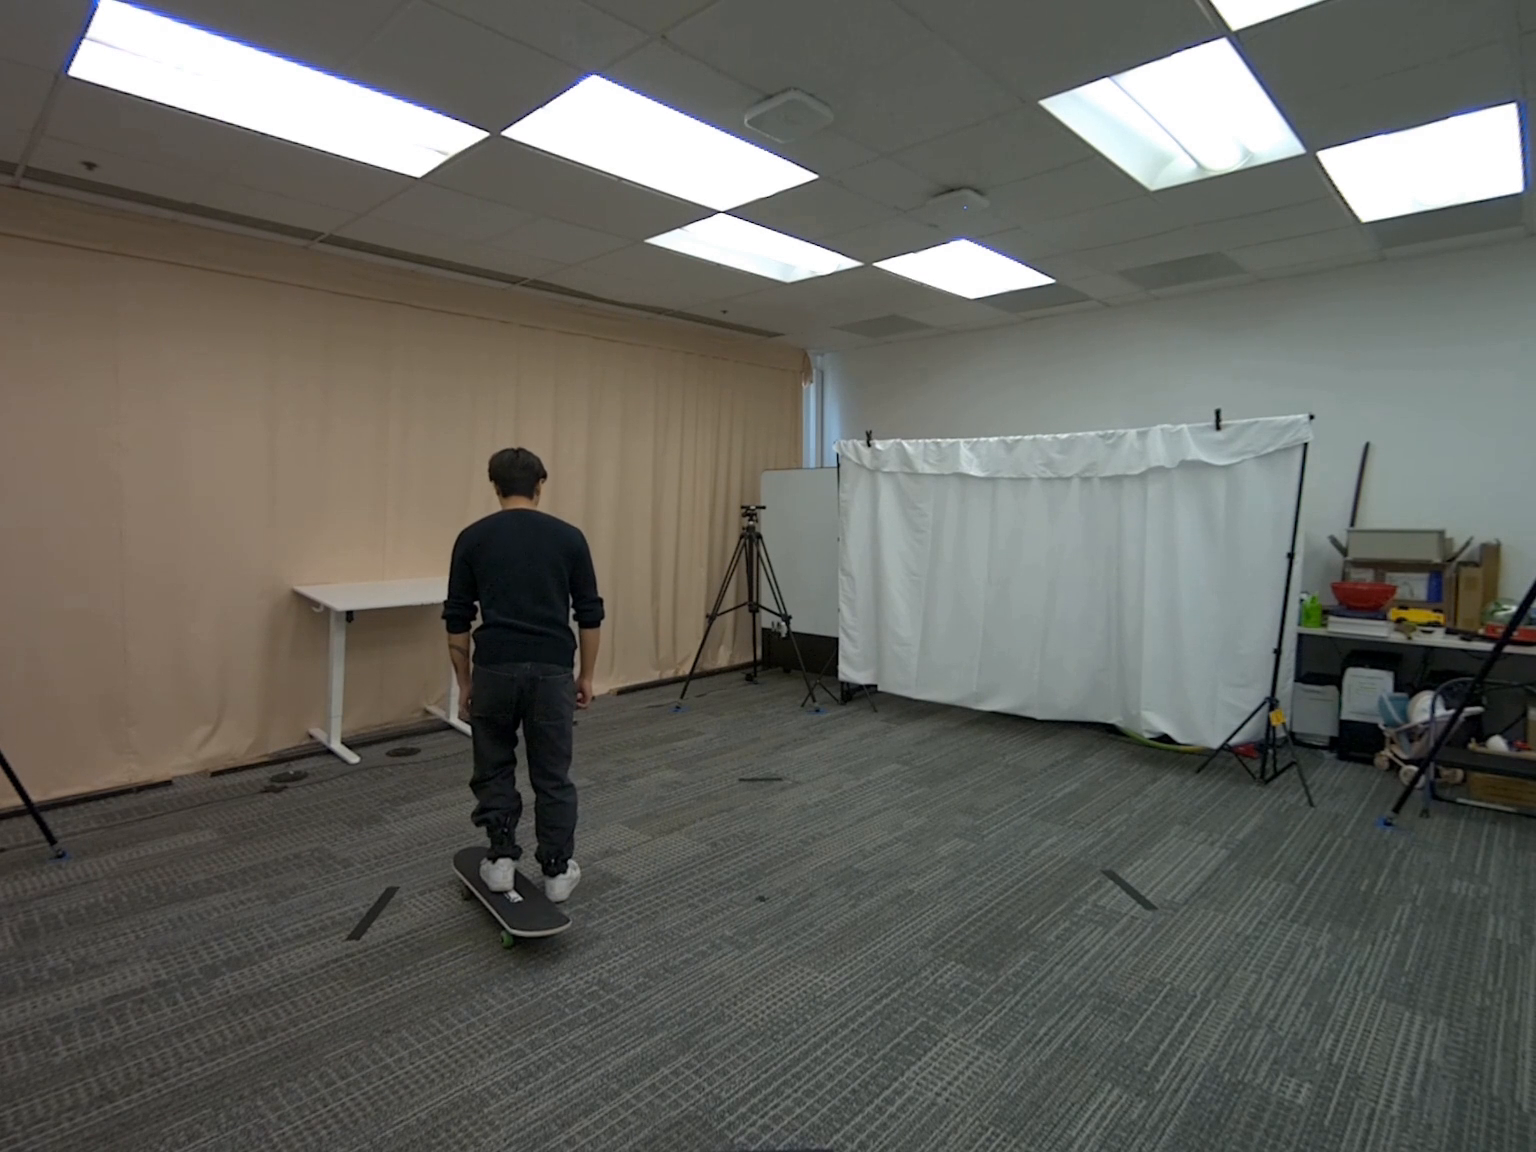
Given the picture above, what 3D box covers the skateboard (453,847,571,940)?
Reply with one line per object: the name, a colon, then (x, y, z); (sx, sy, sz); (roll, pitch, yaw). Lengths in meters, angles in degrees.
skateboard: (-0.899, 1.108, 2.872); (0.187, 0.110, 0.810); (1, 2, -37)
